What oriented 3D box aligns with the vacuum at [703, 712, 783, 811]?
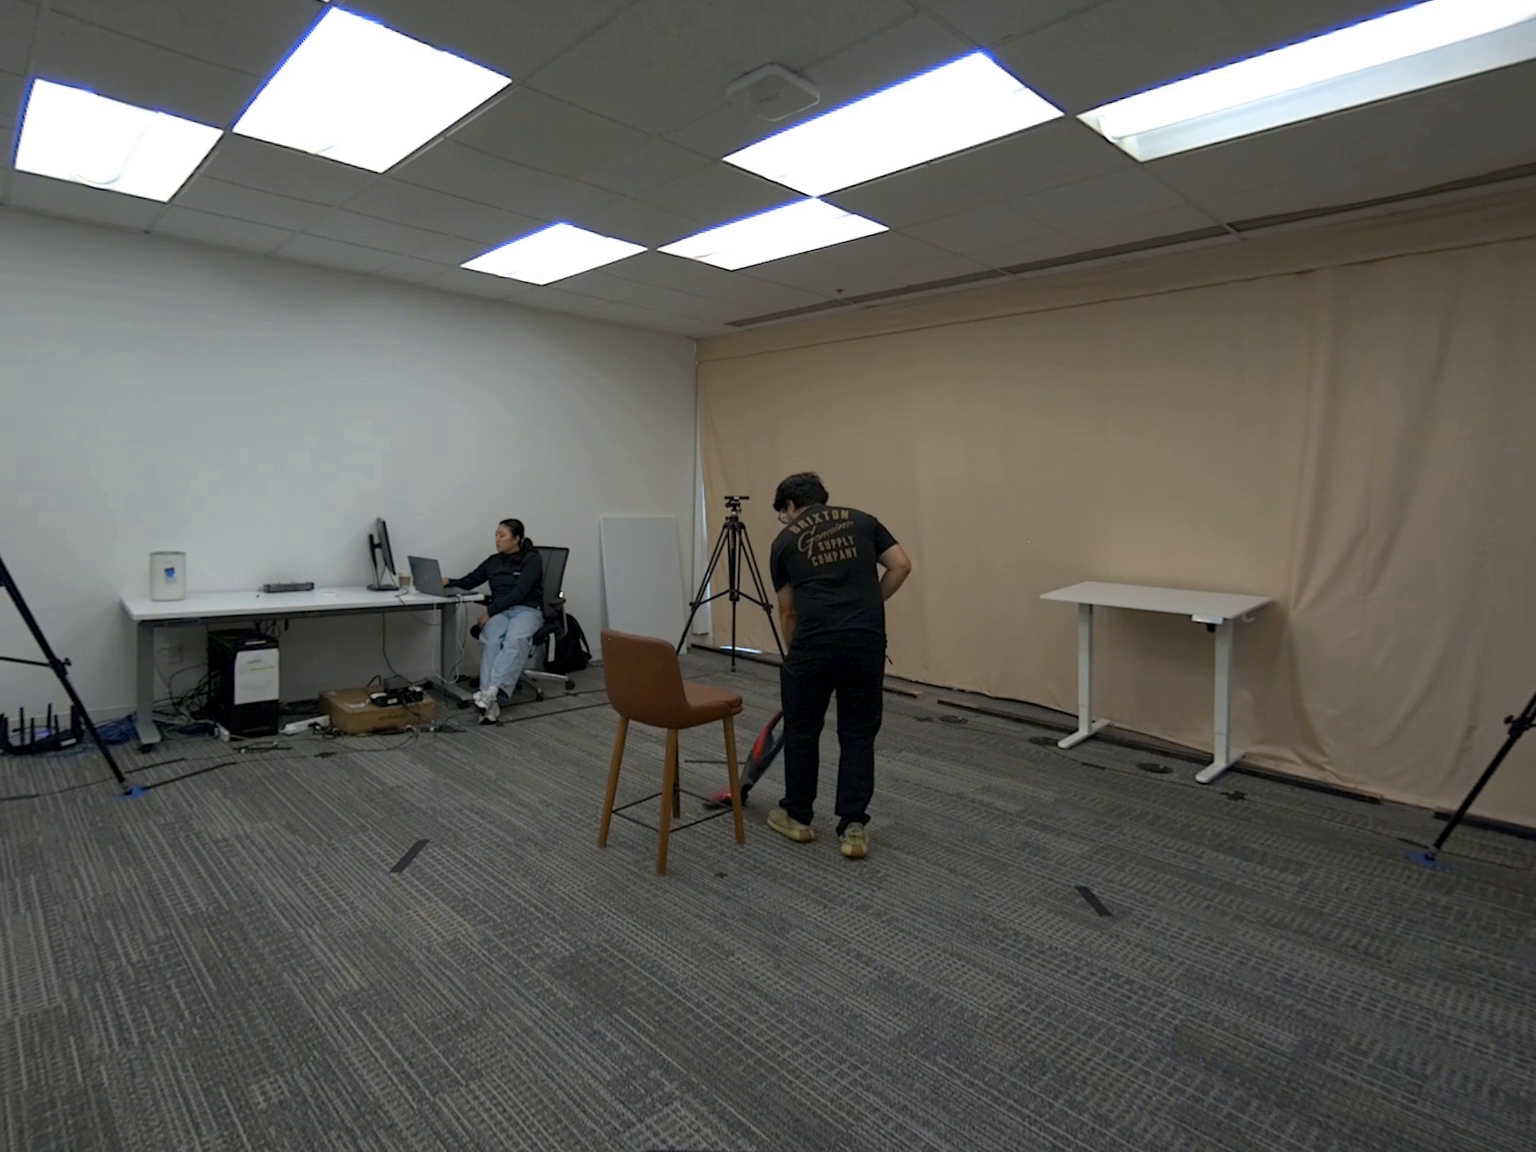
[{"bbox_3d":[0.076,0.615,3.714,0.147,1.046,0.248,39,16,21],"label":"vacuum"}]
